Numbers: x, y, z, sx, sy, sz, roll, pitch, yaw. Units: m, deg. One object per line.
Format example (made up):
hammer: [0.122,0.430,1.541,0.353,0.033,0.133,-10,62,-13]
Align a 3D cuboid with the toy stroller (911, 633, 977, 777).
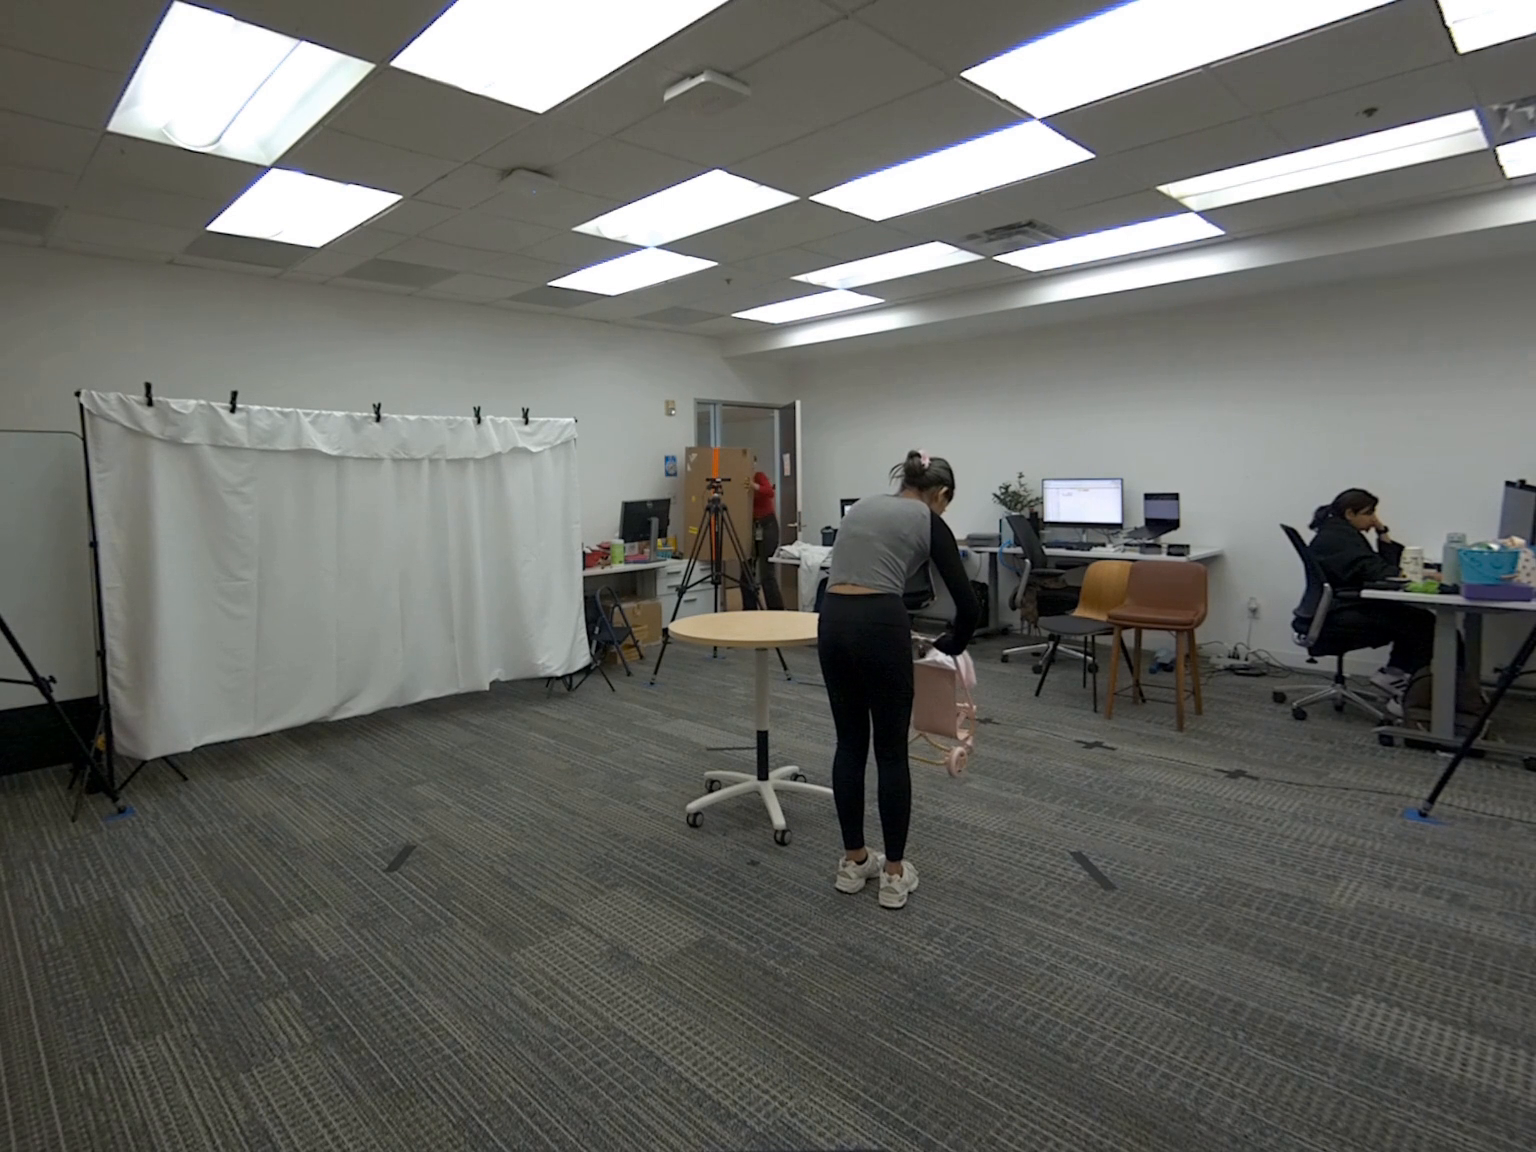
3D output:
toy stroller: [0.644,0.492,3.157,0.290,0.534,0.331,5,2,42]
